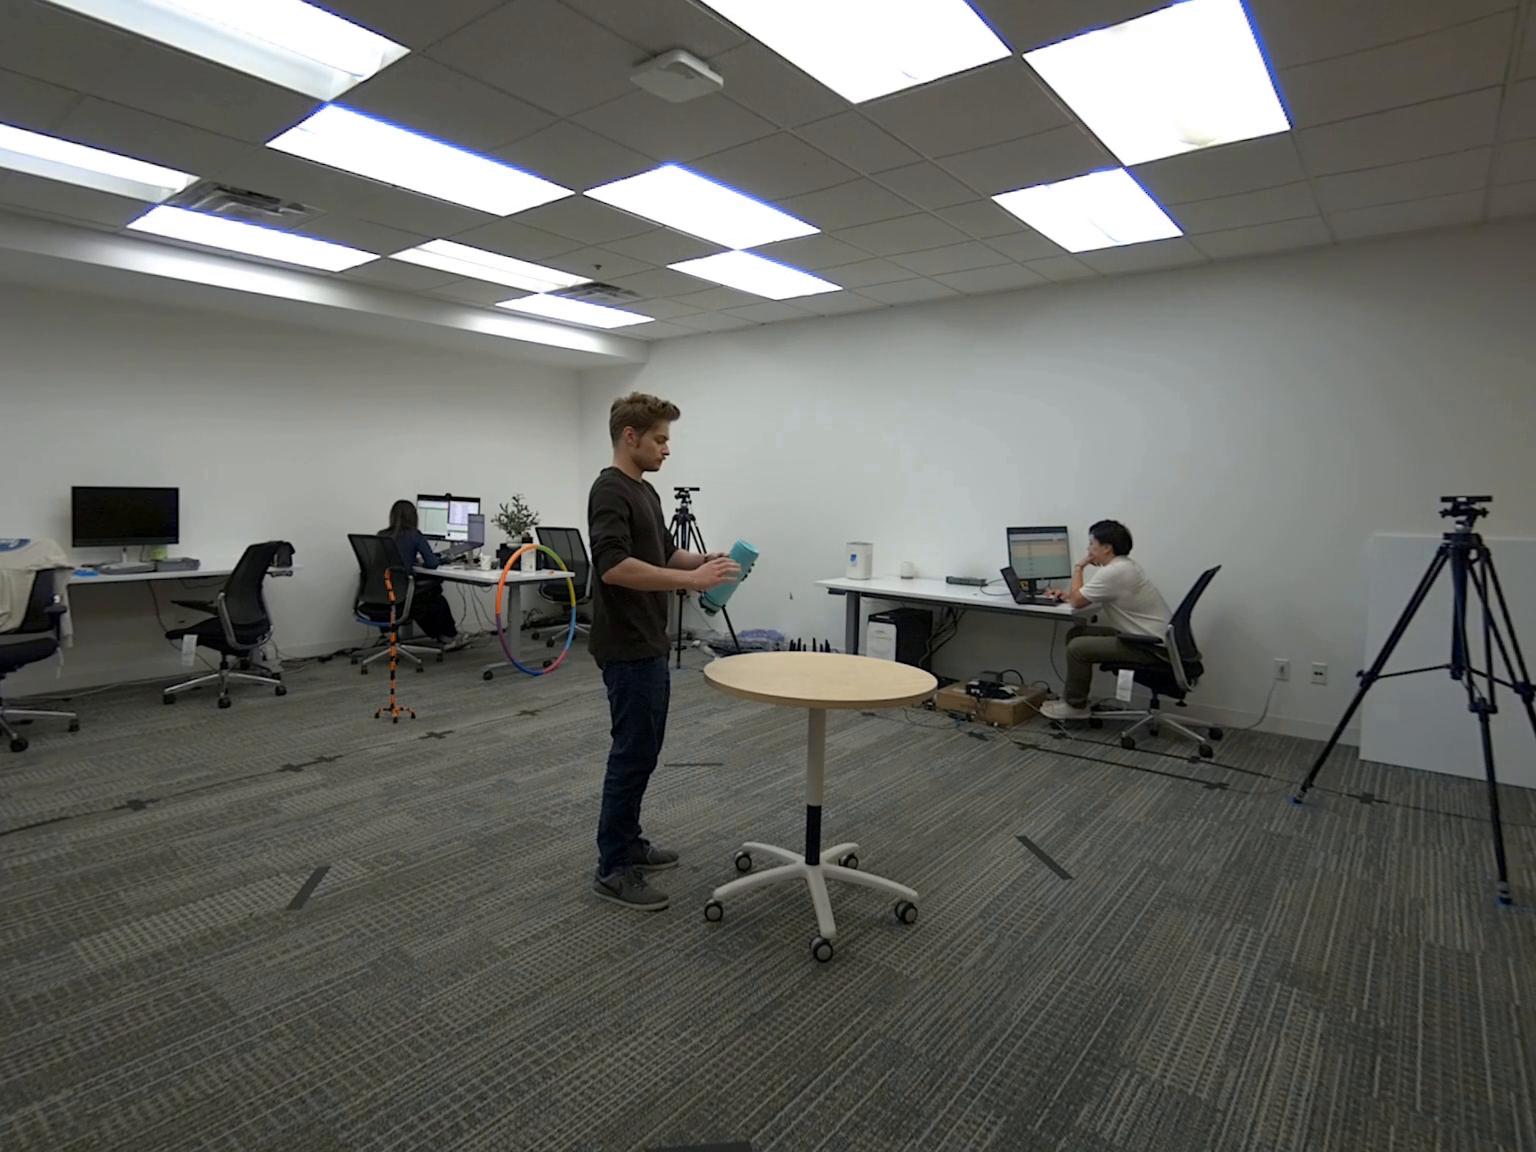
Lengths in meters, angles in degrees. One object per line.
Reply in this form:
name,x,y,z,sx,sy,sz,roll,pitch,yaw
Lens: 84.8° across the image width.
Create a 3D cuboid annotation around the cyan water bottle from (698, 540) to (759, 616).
cyan water bottle,-0.155,0.008,2.936,0.091,0.283,0.093,33,9,-8
